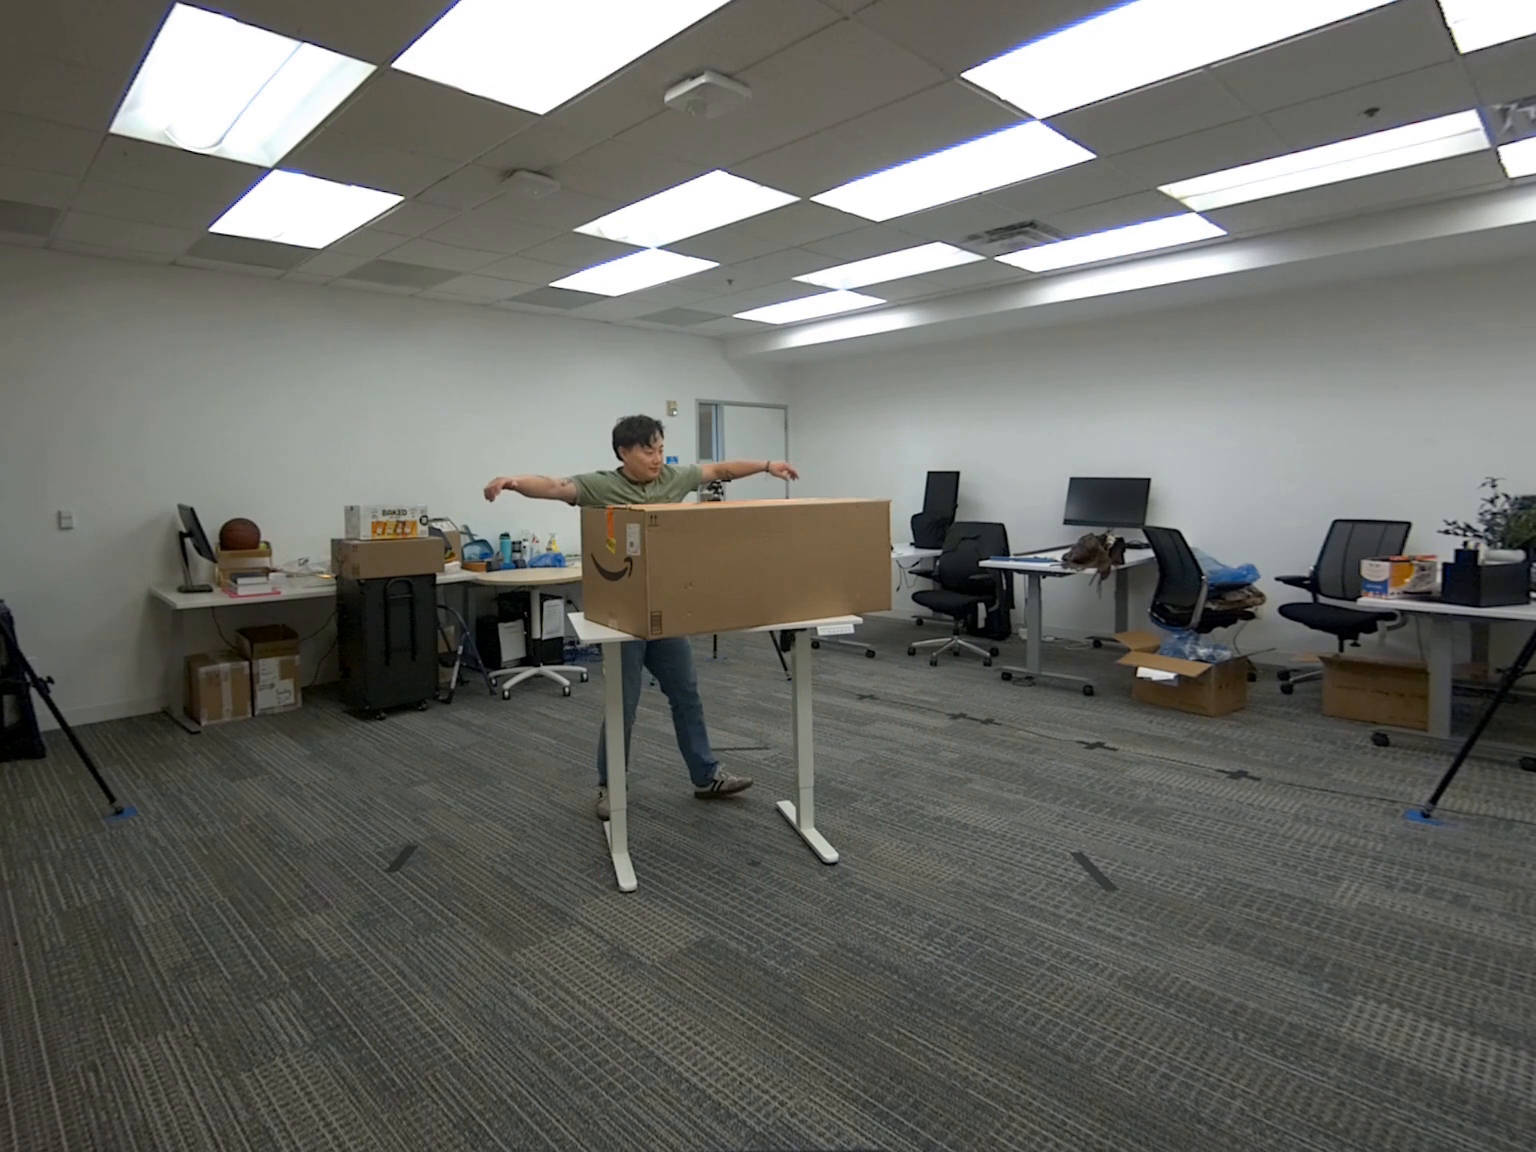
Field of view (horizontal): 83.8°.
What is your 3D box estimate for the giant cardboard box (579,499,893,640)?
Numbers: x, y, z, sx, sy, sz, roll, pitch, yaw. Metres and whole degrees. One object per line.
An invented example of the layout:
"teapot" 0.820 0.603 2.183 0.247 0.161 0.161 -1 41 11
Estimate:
"giant cardboard box" -0.118 -0.065 3.225 1.002 0.425 0.593 -5 6 -31
